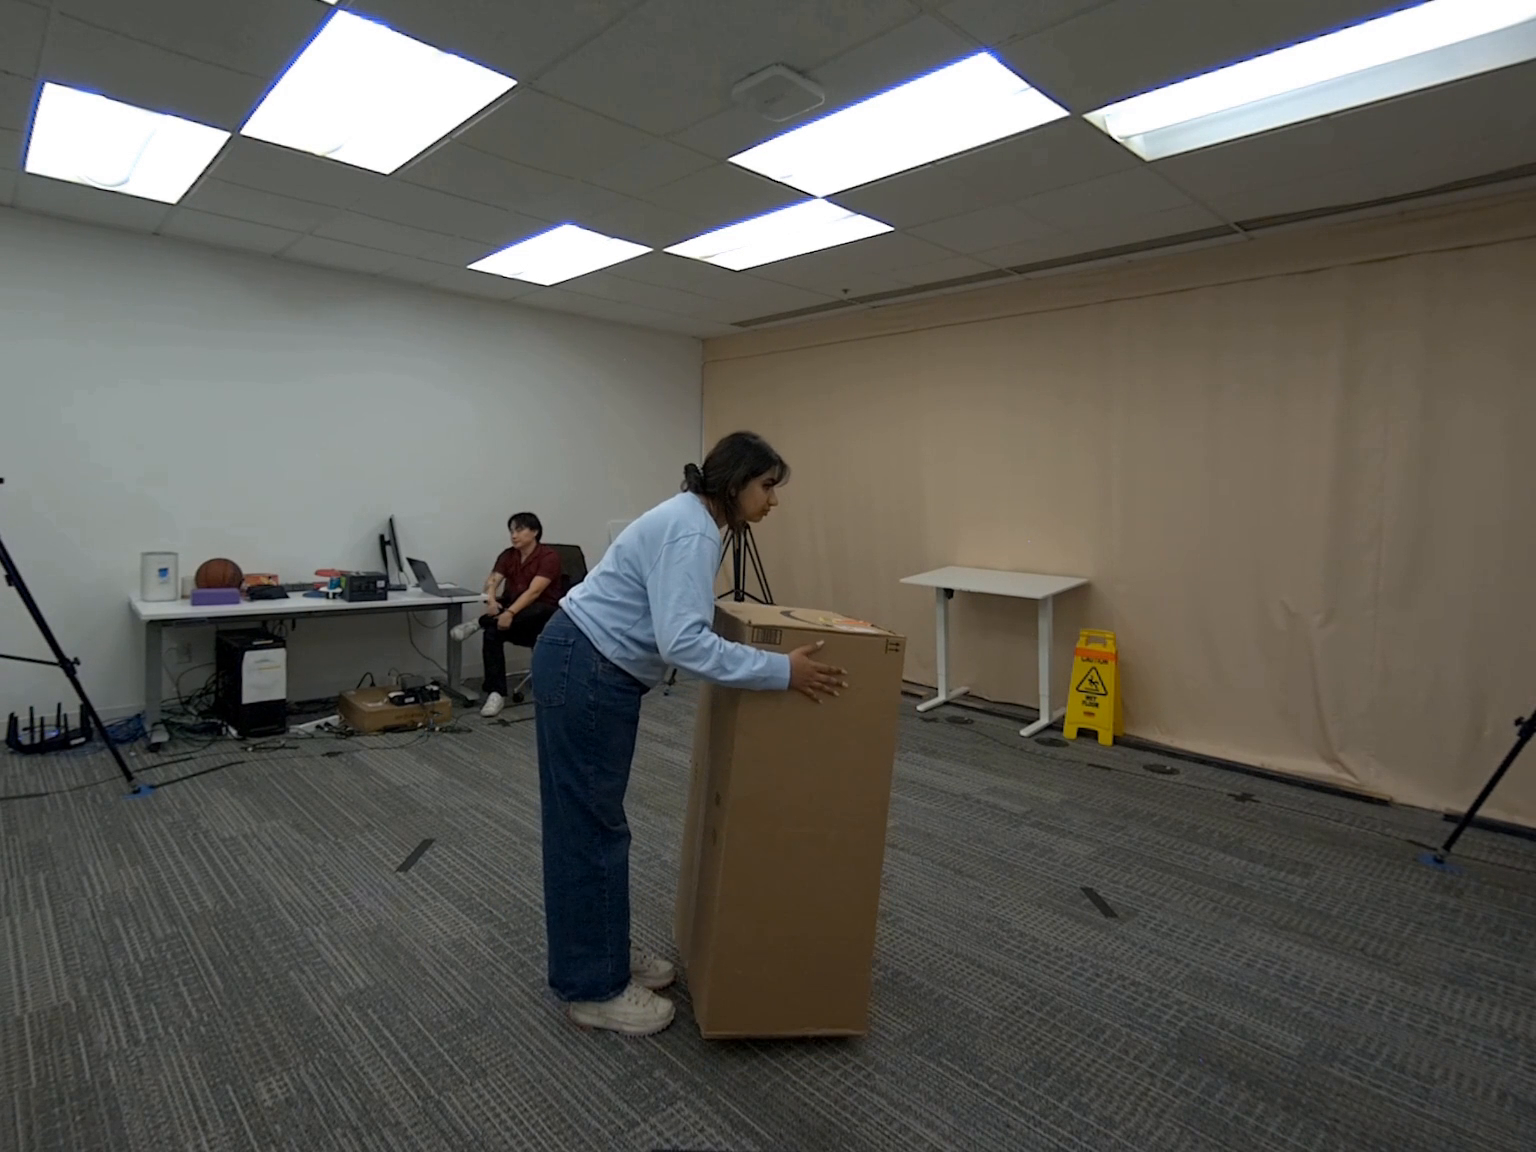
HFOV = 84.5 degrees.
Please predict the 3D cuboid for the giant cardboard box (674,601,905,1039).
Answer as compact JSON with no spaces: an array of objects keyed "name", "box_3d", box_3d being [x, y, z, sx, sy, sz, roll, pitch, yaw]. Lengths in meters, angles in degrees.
[{"name":"giant cardboard box","box_3d":[0.030,0.628,2.368,0.421,1.025,0.584,6,1,-14]}]
